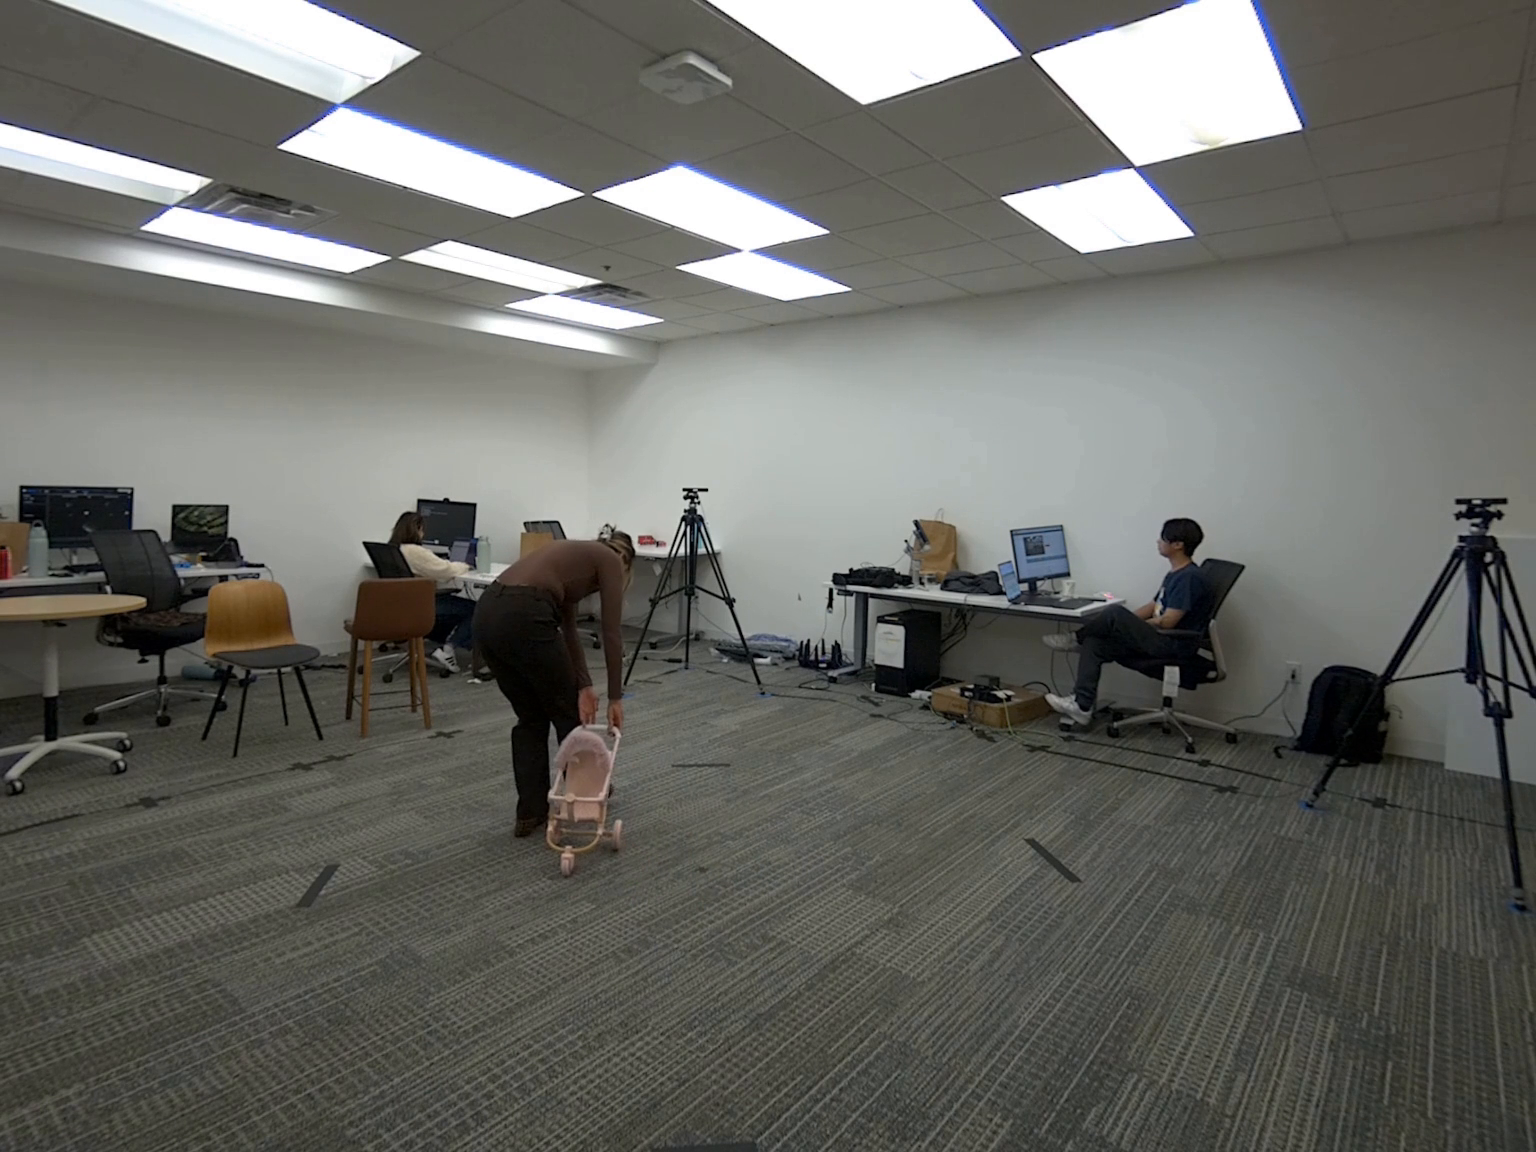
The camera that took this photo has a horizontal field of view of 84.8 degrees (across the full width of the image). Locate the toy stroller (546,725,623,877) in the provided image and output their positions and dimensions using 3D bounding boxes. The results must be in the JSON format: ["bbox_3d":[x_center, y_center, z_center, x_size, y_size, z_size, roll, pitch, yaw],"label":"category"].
[{"bbox_3d":[-0.712,0.824,3.219,0.284,0.542,0.334,1,-14,8],"label":"toy stroller"}]
